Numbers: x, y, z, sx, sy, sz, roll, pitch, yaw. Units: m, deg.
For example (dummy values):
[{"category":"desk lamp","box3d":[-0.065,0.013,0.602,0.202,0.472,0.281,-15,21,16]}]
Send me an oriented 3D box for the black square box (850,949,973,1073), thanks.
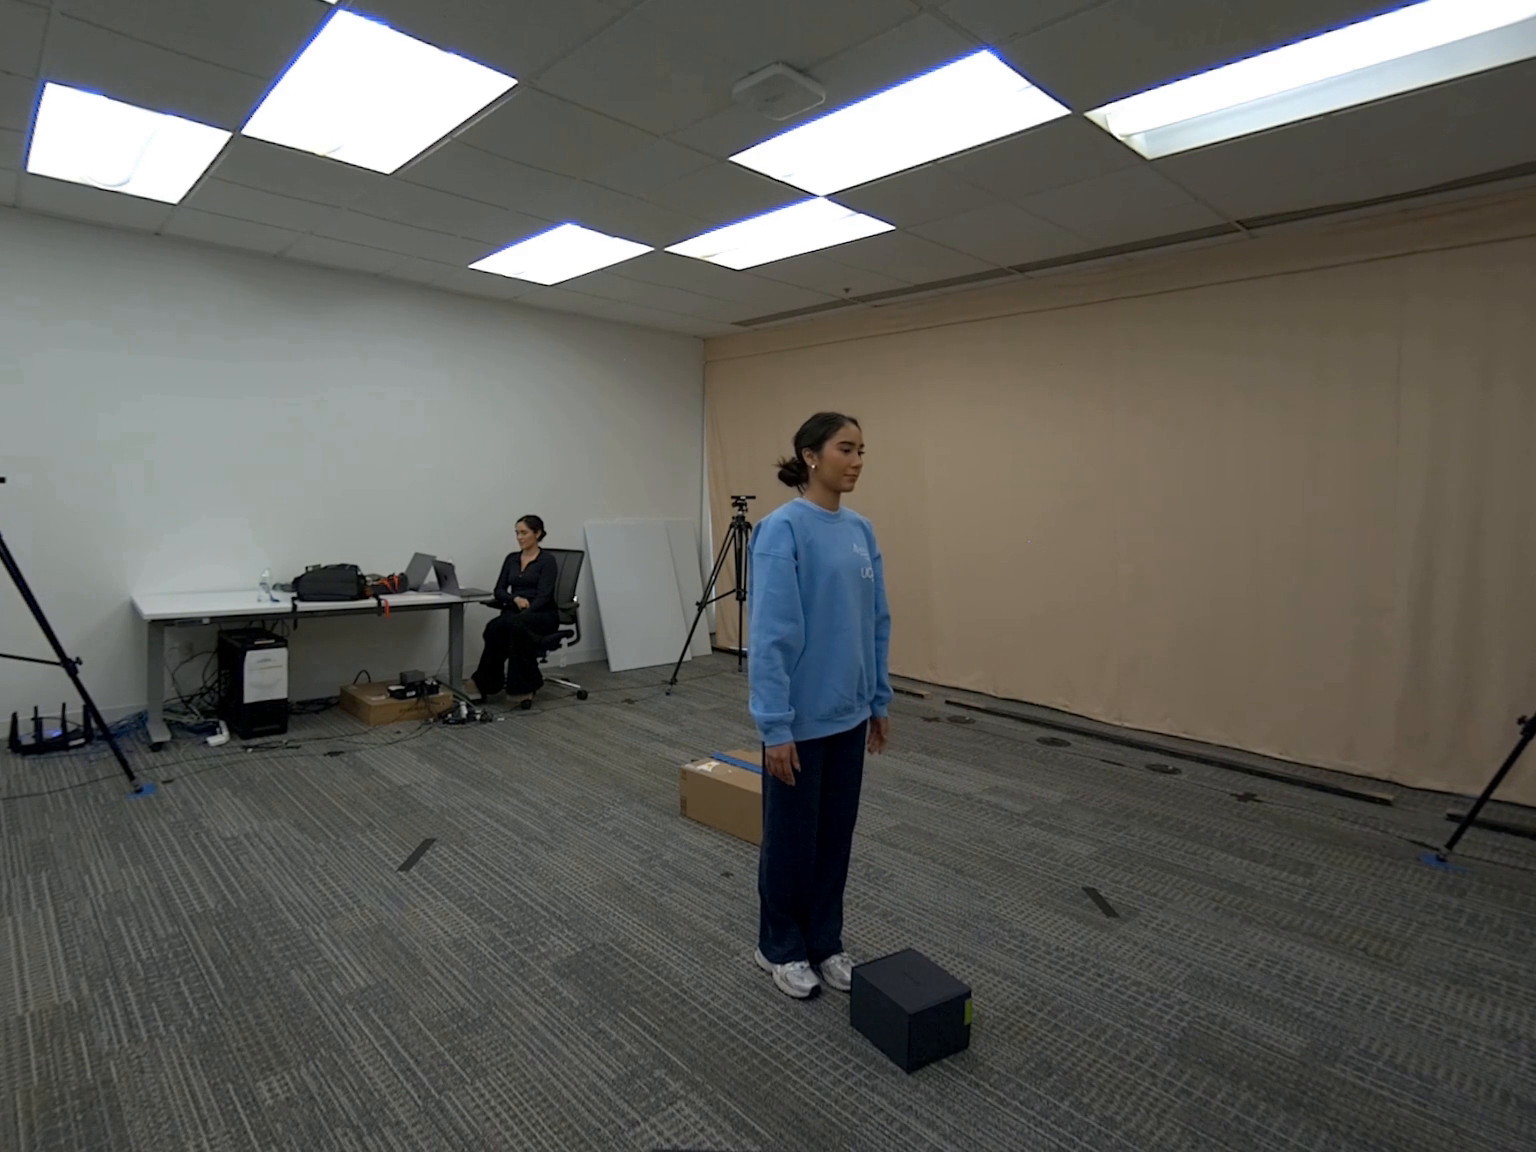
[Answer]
[{"category":"black square box","box3d":[0.360,1.121,2.183,0.212,0.155,0.233,0,5,-33]}]
